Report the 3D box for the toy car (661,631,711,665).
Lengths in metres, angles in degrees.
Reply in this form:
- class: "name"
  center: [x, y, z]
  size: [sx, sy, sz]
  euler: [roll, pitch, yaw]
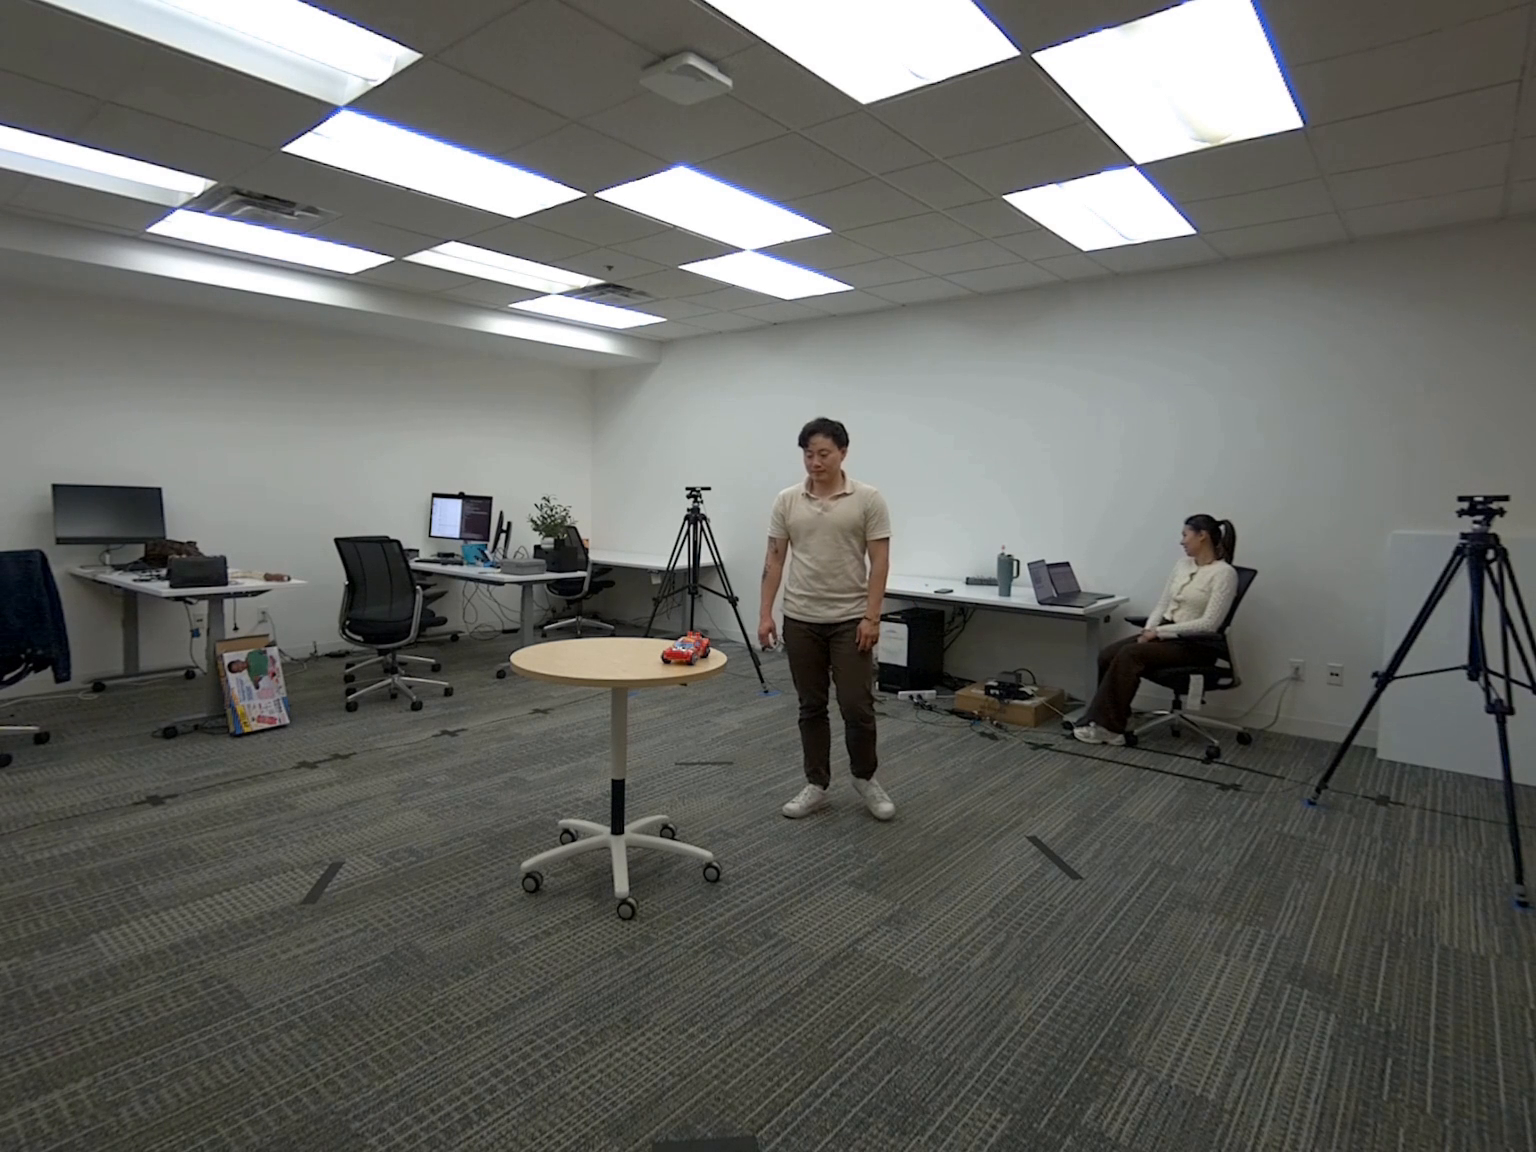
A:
- class: "toy car"
  center: [-0.291, 0.260, 3.011]
  size: [0.133, 0.082, 0.254]
  euler: [2, 17, 16]
